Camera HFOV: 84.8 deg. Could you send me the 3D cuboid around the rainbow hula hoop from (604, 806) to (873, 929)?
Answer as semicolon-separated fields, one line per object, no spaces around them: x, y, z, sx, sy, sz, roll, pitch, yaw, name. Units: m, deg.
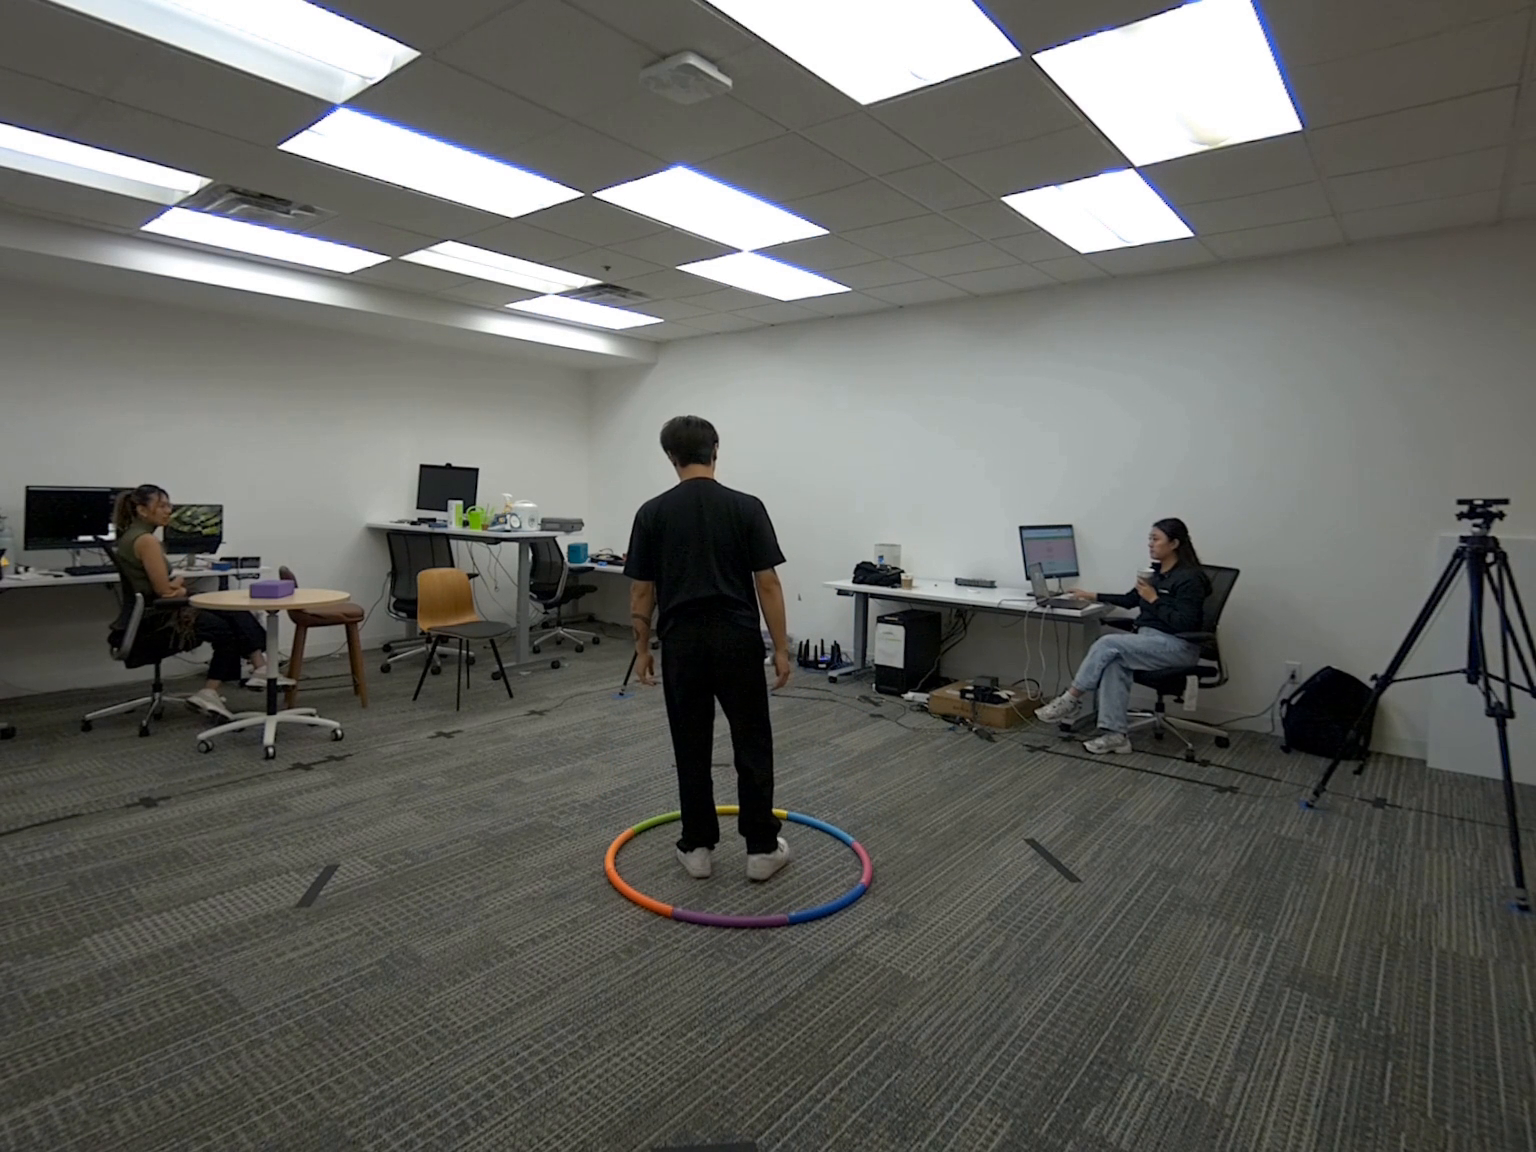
-0.122;1.036;3.170;0.978;0.035;0.984;1;6;-2;rainbow hula hoop
